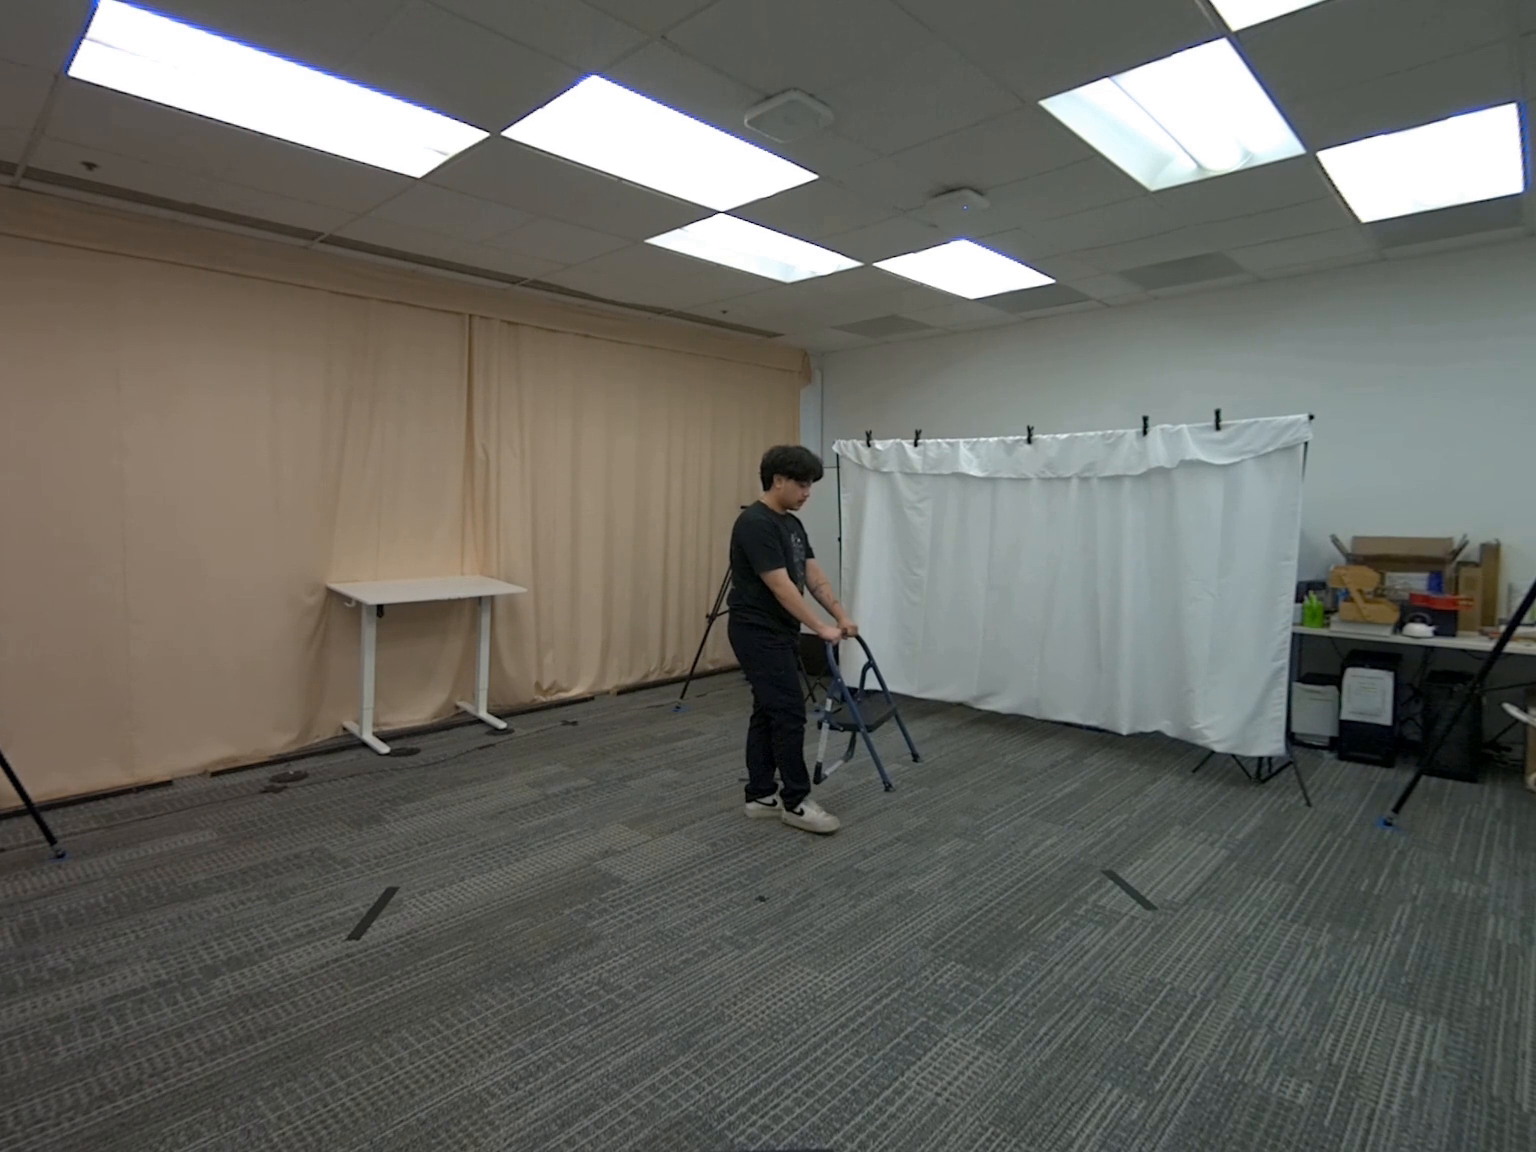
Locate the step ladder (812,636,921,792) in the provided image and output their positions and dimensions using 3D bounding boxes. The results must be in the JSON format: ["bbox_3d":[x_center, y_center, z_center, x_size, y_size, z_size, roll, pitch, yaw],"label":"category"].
[{"bbox_3d":[0.405,0.541,3.565,0.358,0.605,0.420,-3,3,27],"label":"step ladder"}]
